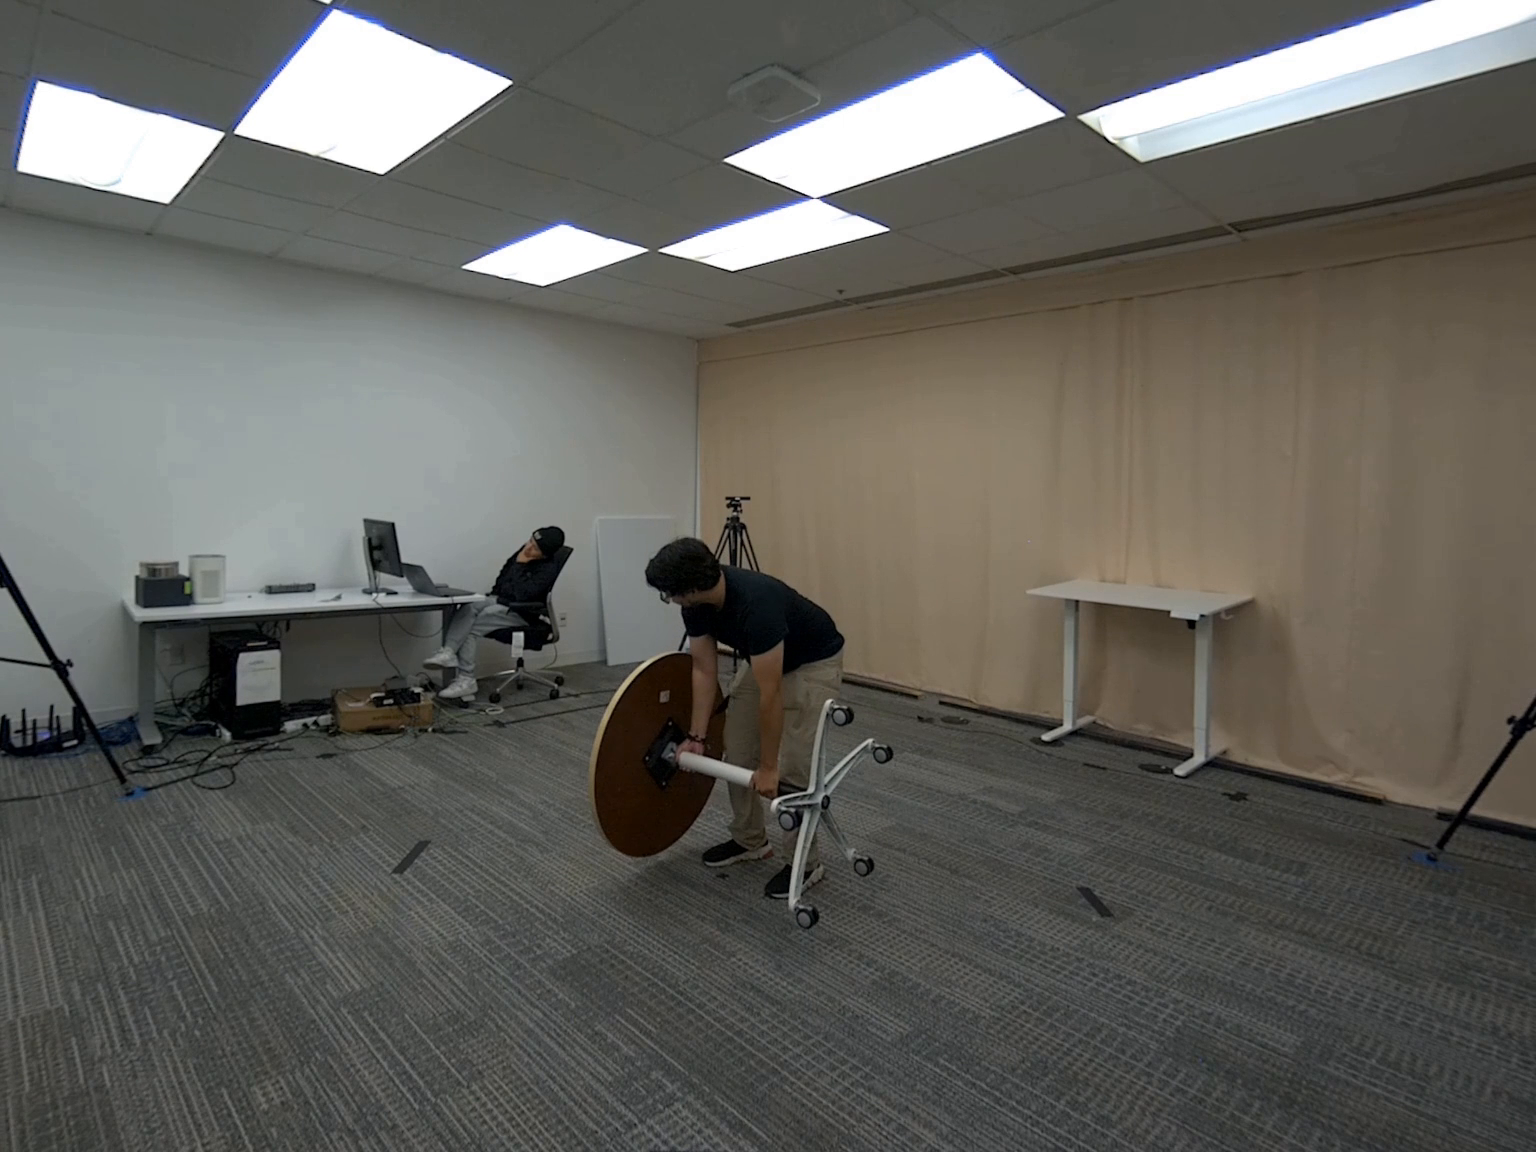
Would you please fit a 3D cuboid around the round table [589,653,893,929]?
[{"bbox_3d":[-0.078,0.709,2.948,0.806,0.782,0.769,6,6,34],"label":"round table"}]
